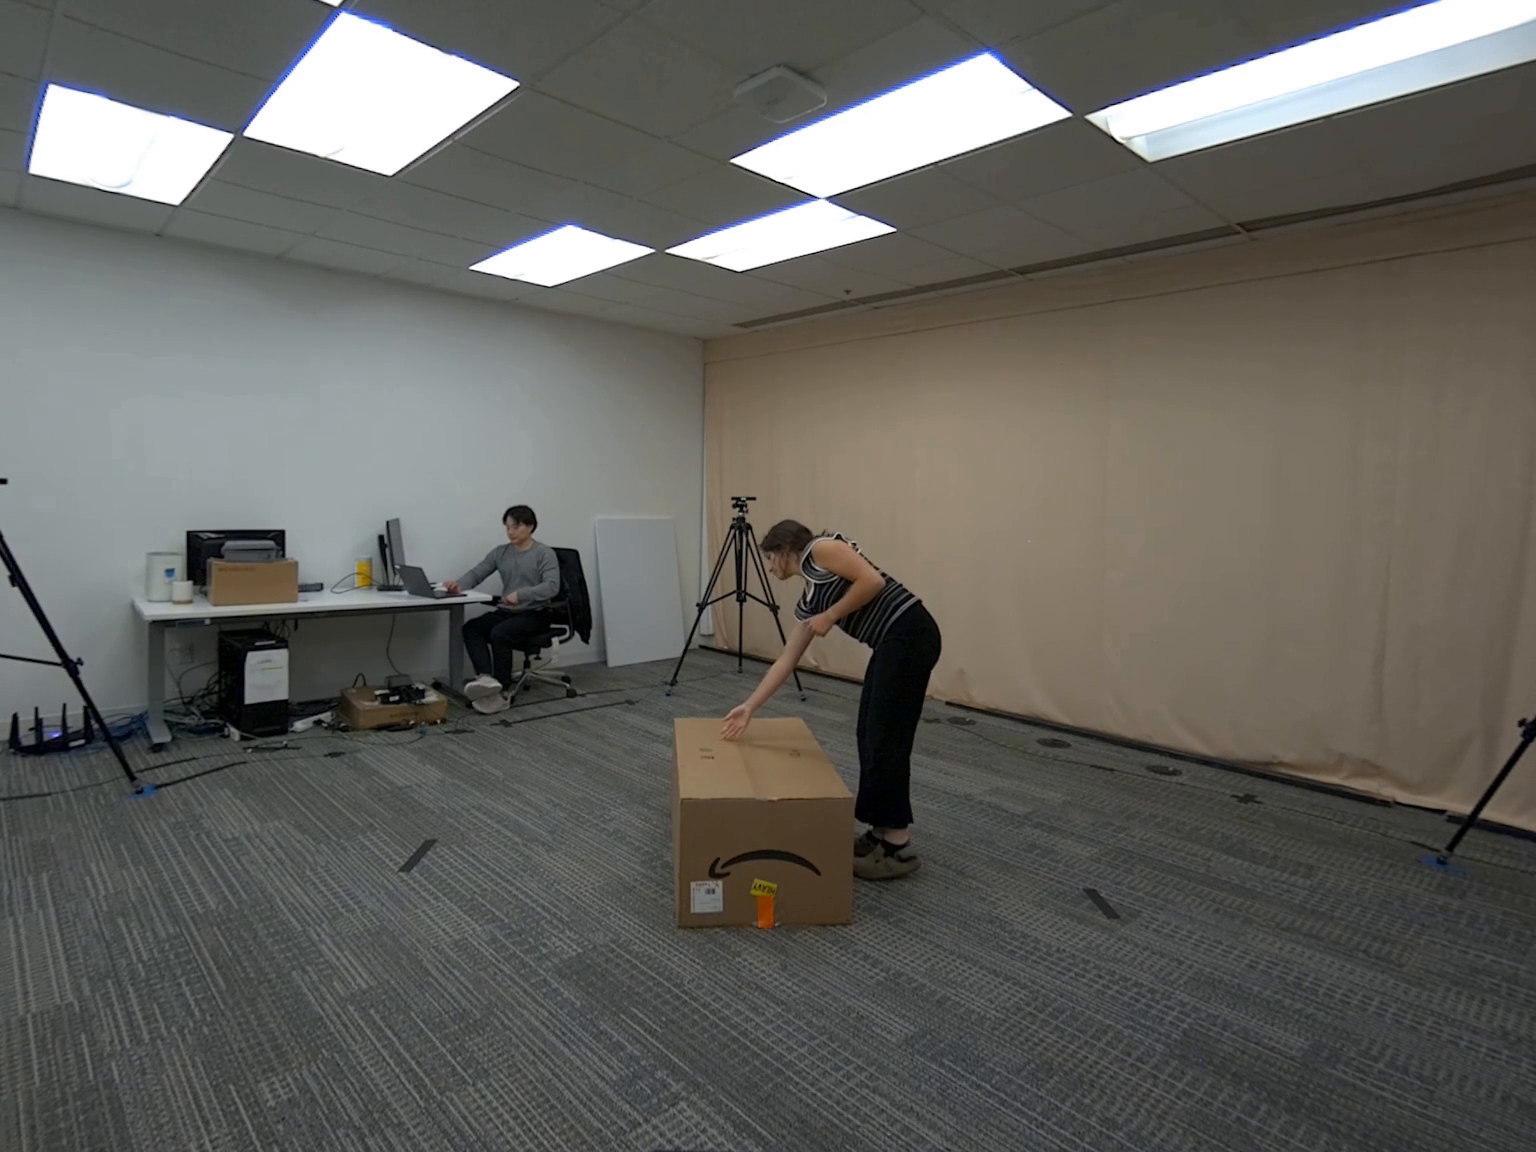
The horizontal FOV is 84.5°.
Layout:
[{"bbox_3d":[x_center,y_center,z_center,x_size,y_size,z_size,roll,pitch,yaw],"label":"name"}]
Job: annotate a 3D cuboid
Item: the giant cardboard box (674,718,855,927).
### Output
[{"bbox_3d":[-0.076,0.885,3.232,0.575,0.425,1.034,1,5,-7],"label":"giant cardboard box"}]
